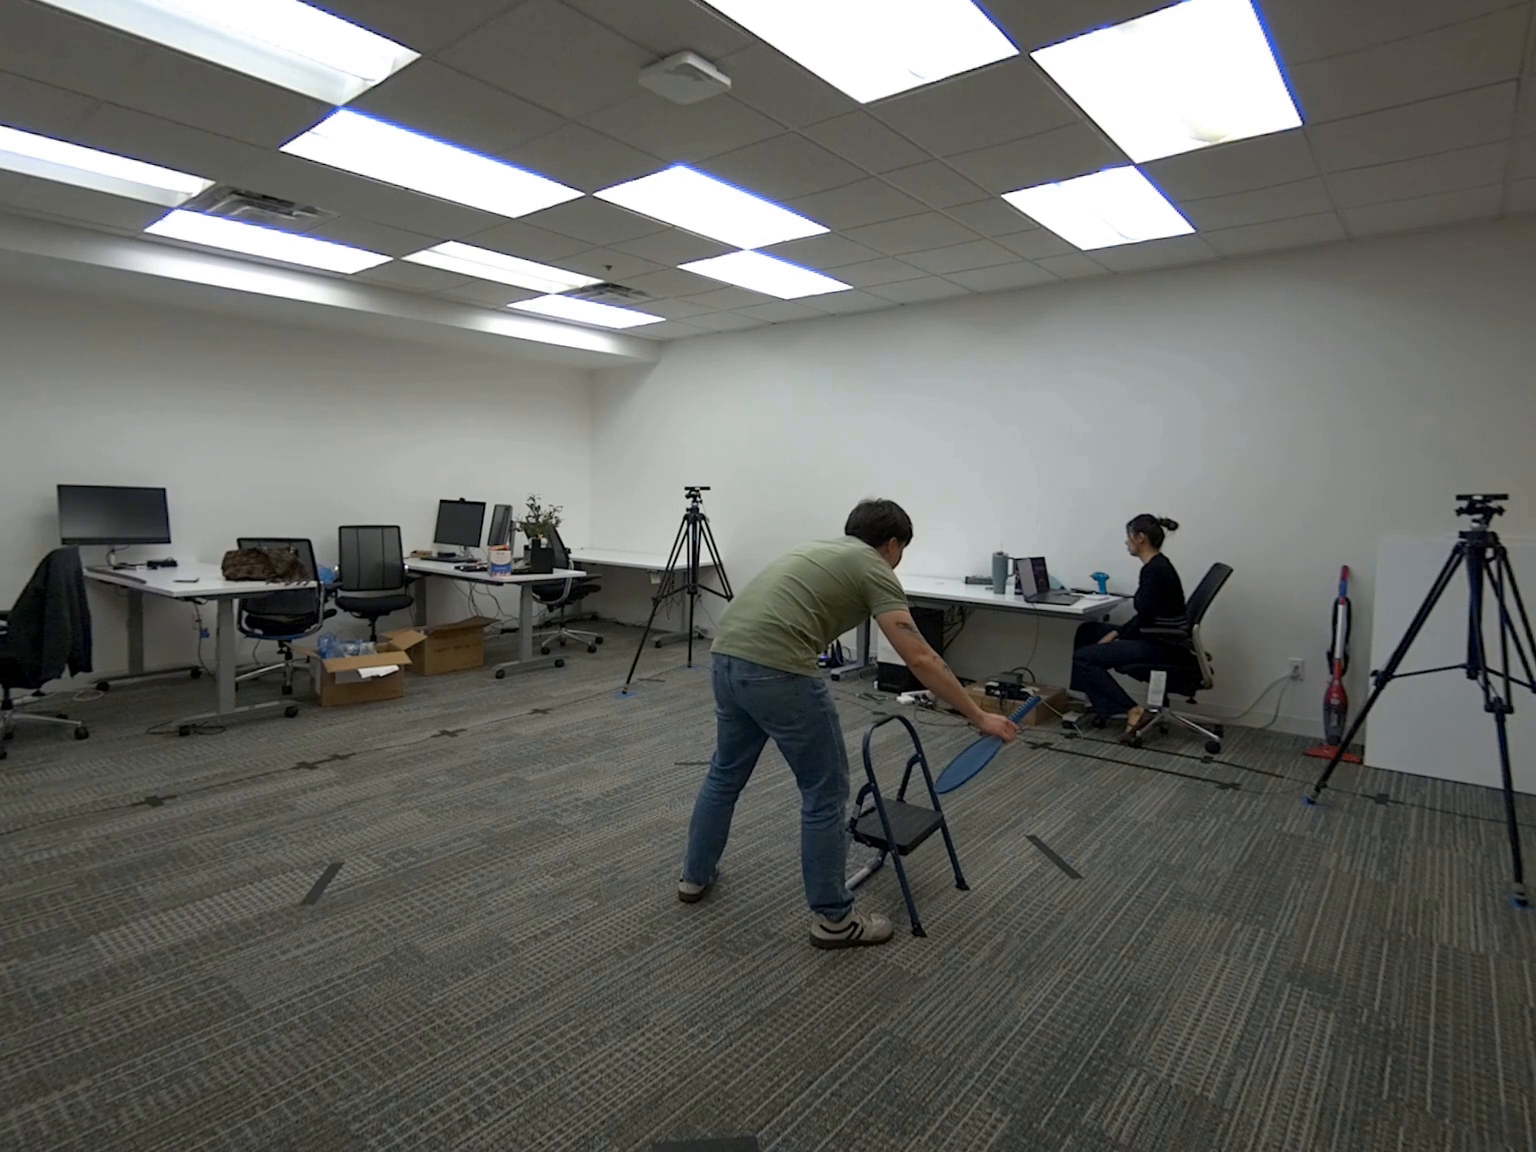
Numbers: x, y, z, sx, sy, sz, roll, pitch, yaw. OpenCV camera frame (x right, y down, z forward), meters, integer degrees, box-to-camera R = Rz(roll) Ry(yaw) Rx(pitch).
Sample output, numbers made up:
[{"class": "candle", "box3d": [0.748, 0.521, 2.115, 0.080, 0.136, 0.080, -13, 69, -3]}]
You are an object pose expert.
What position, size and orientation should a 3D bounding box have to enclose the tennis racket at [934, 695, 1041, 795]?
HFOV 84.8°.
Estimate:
[{"class": "tennis racket", "box3d": [0.648, 0.504, 2.535, 0.432, 0.032, 0.214, -38, 1, -10]}]
